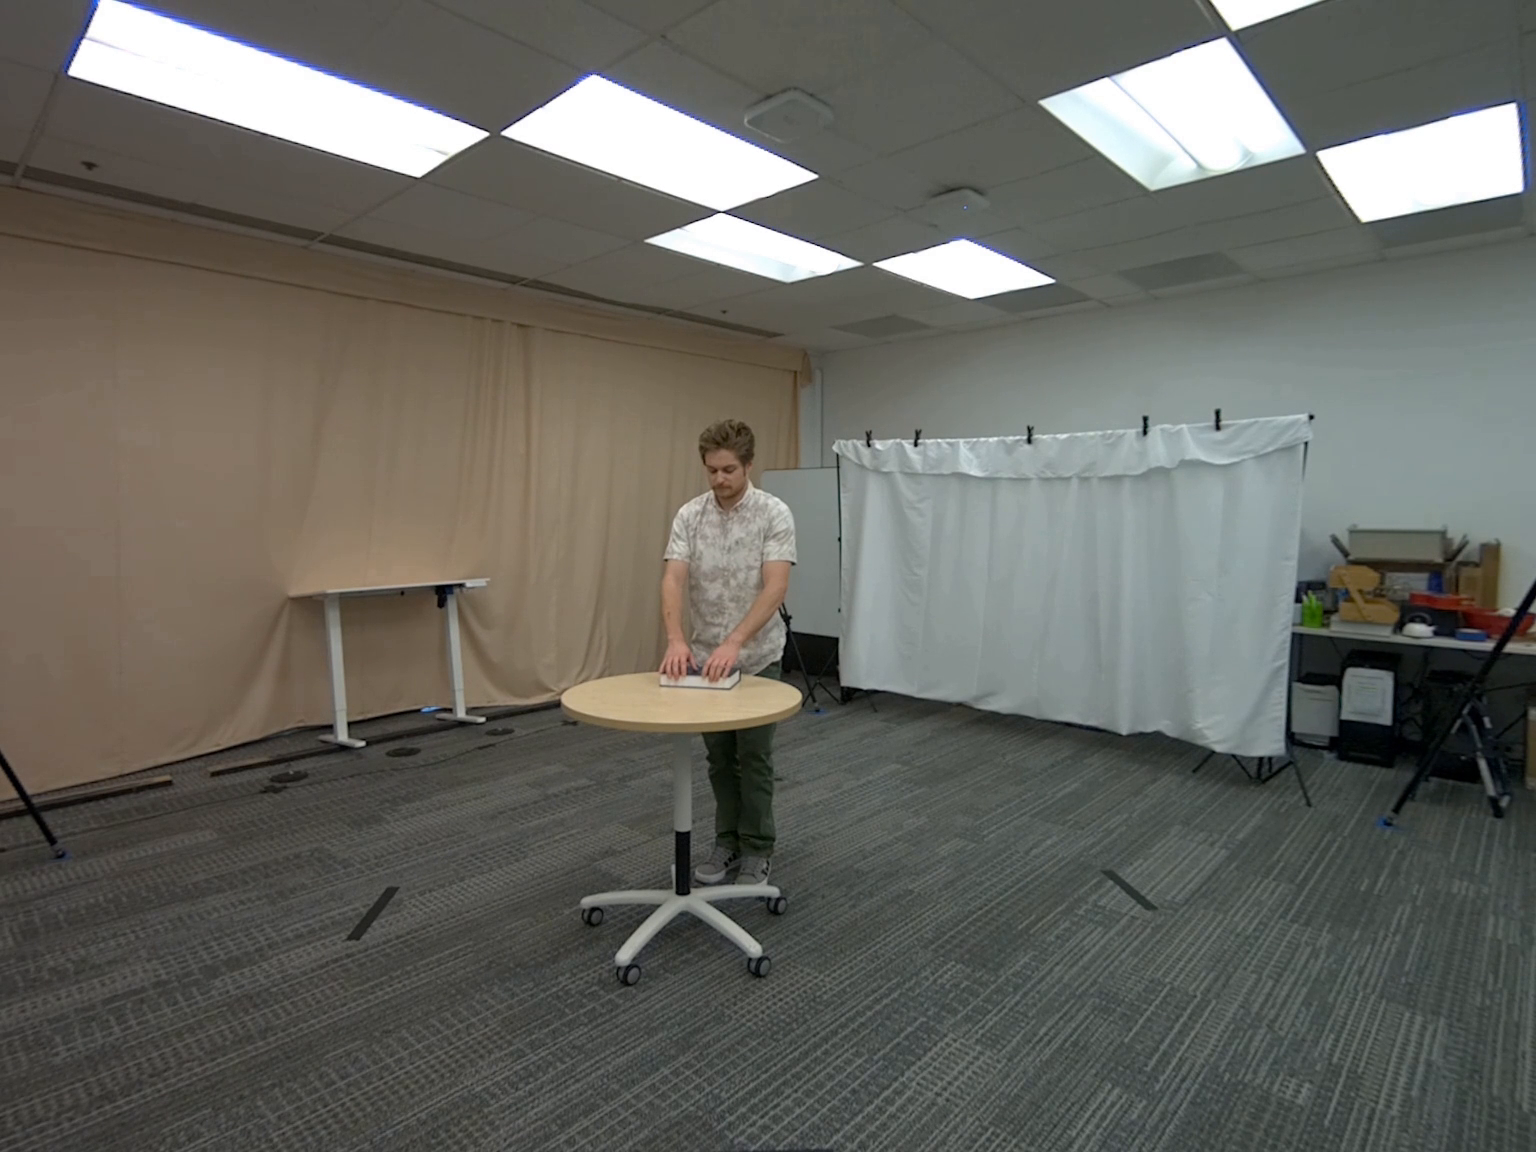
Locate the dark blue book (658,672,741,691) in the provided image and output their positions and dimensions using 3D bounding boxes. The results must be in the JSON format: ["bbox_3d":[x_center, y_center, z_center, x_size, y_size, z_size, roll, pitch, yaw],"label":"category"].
[{"bbox_3d":[-0.233,0.346,2.871,0.248,0.045,0.161,2,5,12],"label":"dark blue book"}]
